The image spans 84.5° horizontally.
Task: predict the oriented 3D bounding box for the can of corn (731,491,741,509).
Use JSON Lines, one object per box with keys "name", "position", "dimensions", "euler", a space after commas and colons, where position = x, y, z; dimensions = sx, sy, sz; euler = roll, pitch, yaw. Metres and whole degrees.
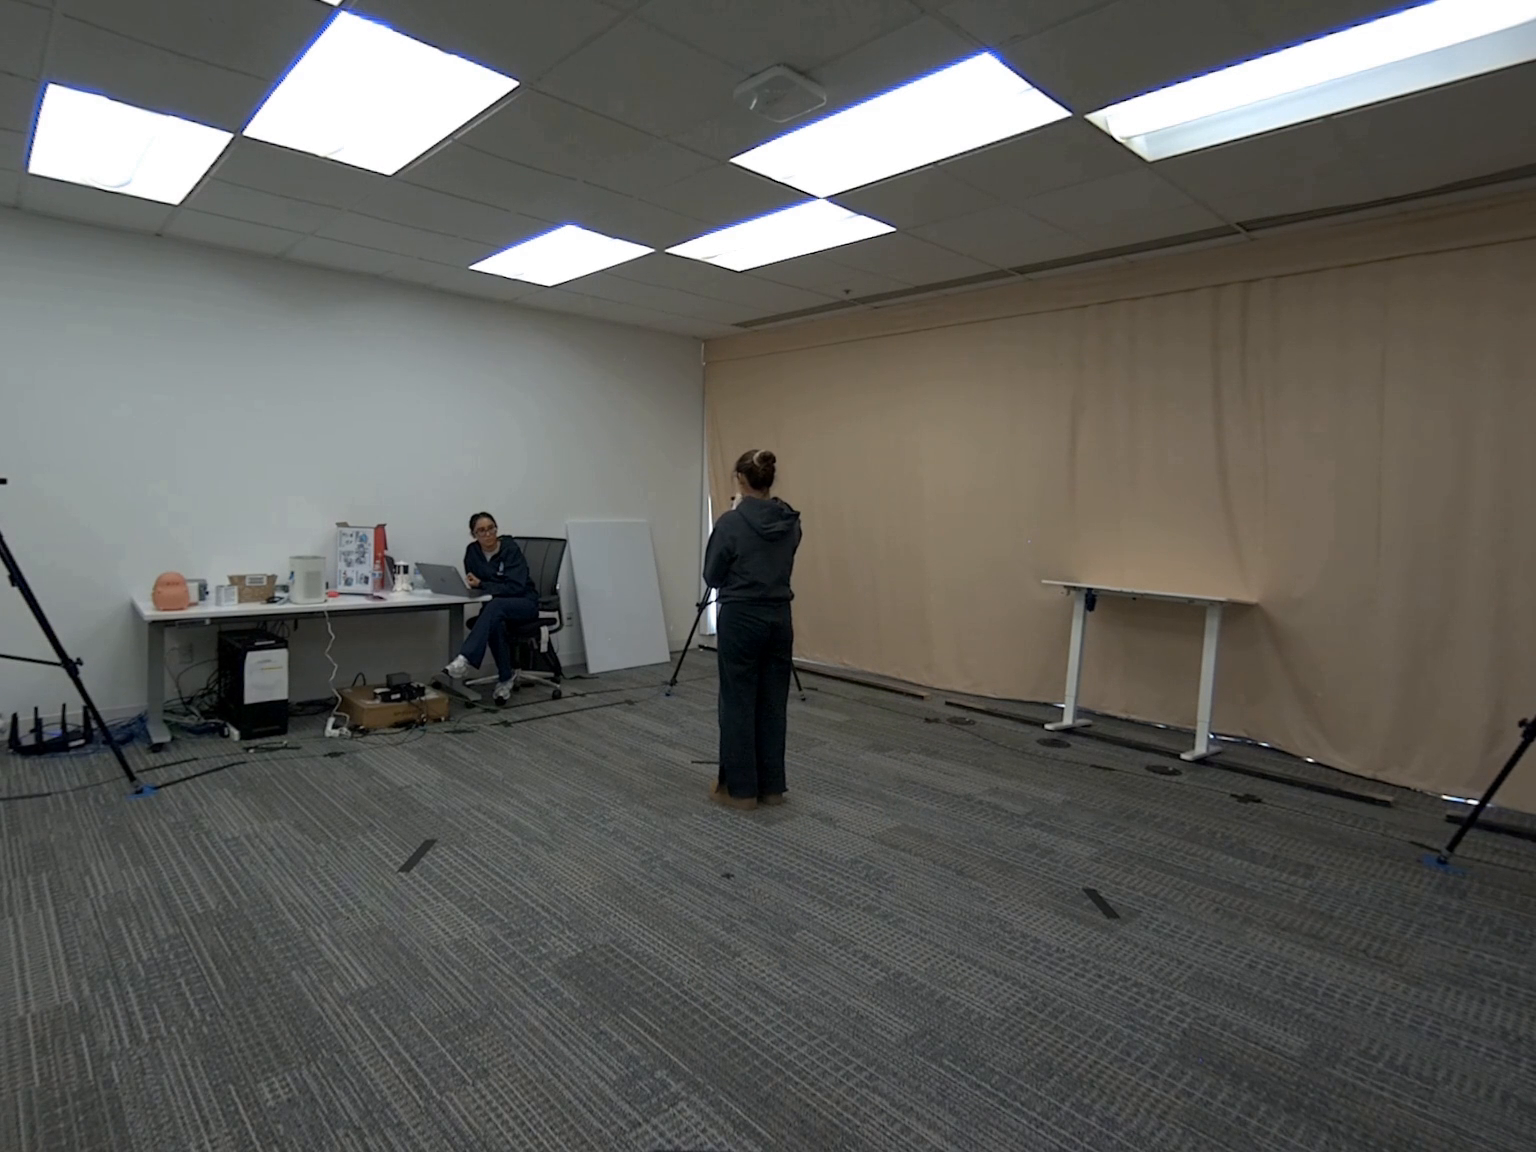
{"name": "can of corn", "position": [-0.134, -0.347, 4.115], "dimensions": [0.074, 0.111, 0.074], "euler": [14, 6, -3]}
